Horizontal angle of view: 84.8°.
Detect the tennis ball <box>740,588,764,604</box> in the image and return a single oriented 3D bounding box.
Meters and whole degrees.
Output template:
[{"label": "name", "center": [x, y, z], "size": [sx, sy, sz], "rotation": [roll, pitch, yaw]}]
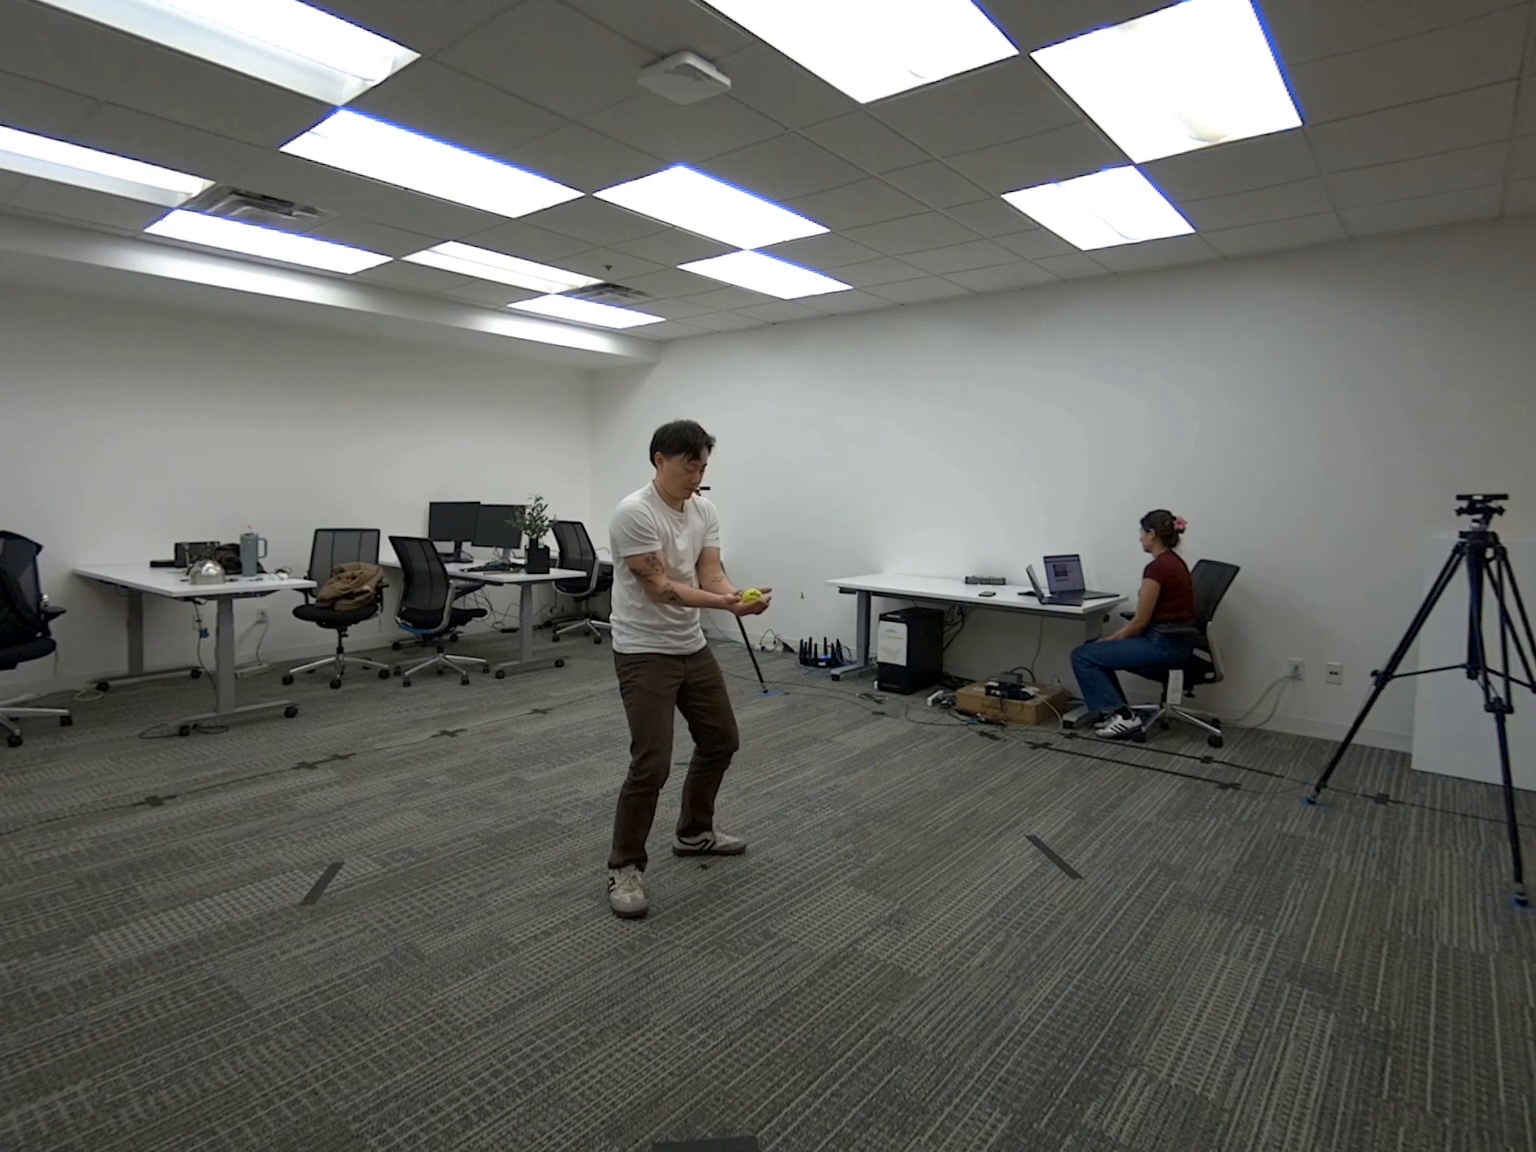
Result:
[{"label": "tennis ball", "center": [-0.069, 0.056, 2.777], "size": [0.066, 0.066, 0.067], "rotation": [1, 4, -2]}]
